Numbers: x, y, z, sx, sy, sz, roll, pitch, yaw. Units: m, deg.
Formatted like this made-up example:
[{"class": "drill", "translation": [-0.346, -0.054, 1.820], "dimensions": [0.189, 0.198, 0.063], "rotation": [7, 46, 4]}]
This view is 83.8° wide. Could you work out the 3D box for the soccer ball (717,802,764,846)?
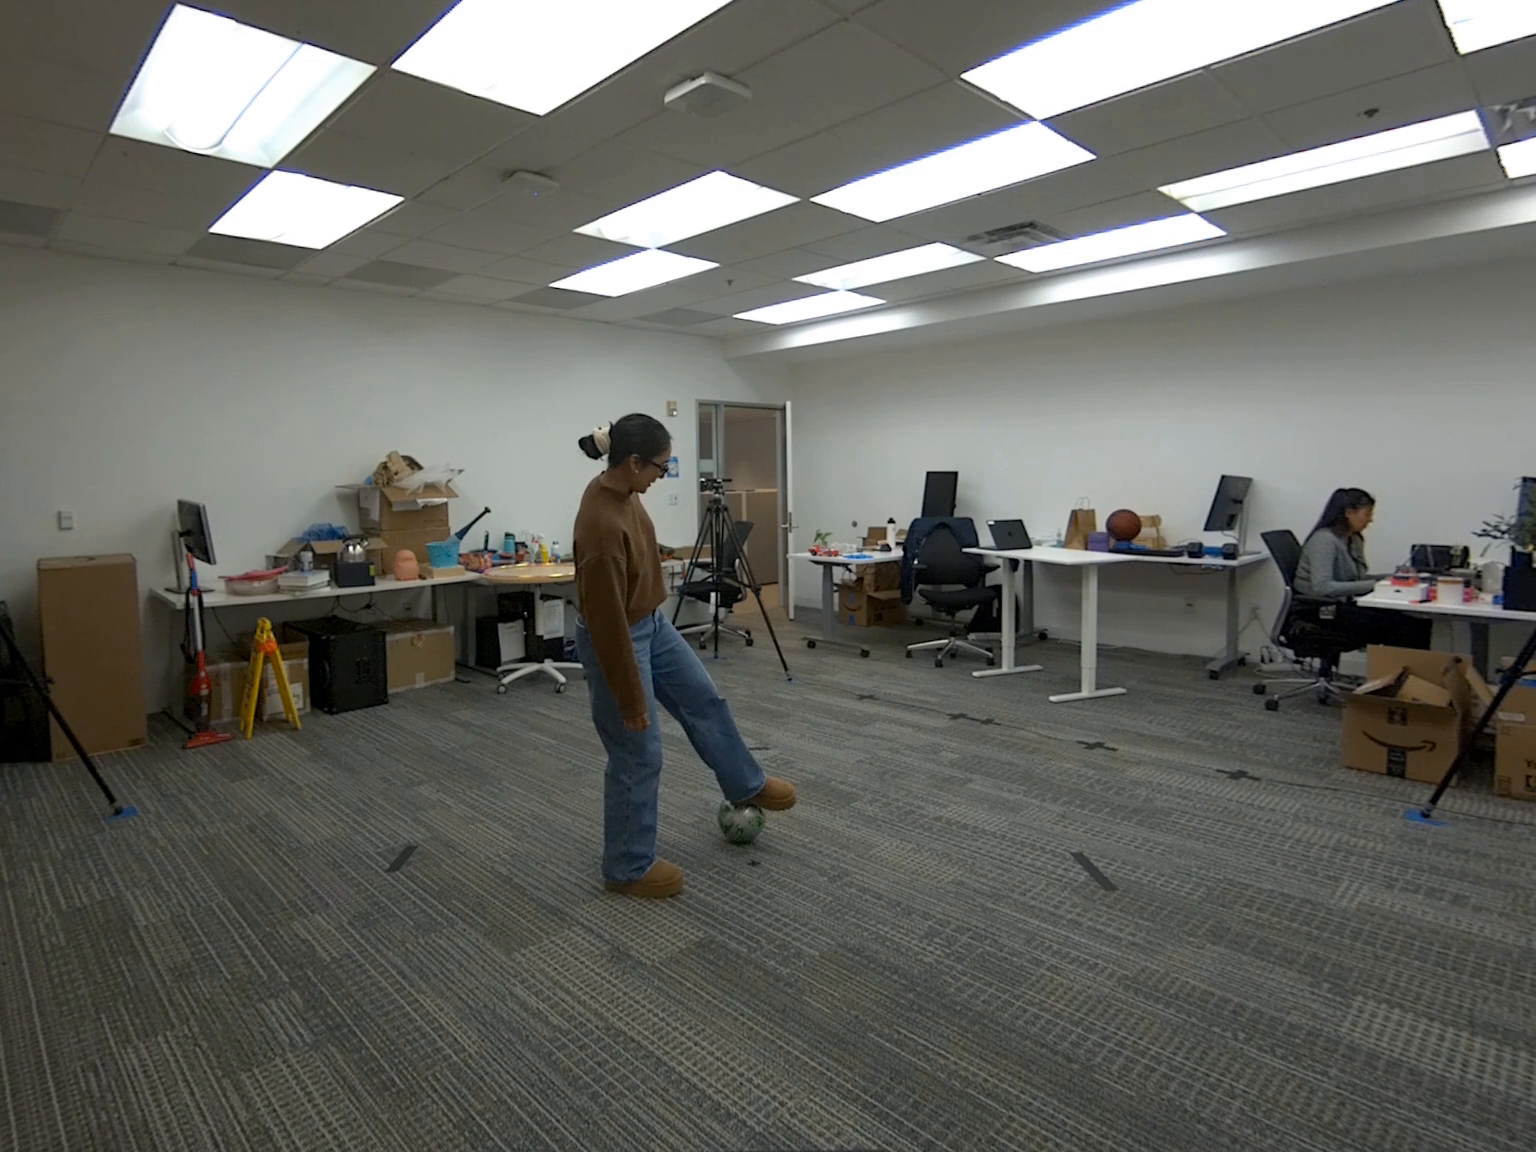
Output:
[{"class": "soccer ball", "translation": [-0.110, 0.928, 3.307], "dimensions": [0.187, 0.187, 0.188], "rotation": [-1, 5, -2]}]
